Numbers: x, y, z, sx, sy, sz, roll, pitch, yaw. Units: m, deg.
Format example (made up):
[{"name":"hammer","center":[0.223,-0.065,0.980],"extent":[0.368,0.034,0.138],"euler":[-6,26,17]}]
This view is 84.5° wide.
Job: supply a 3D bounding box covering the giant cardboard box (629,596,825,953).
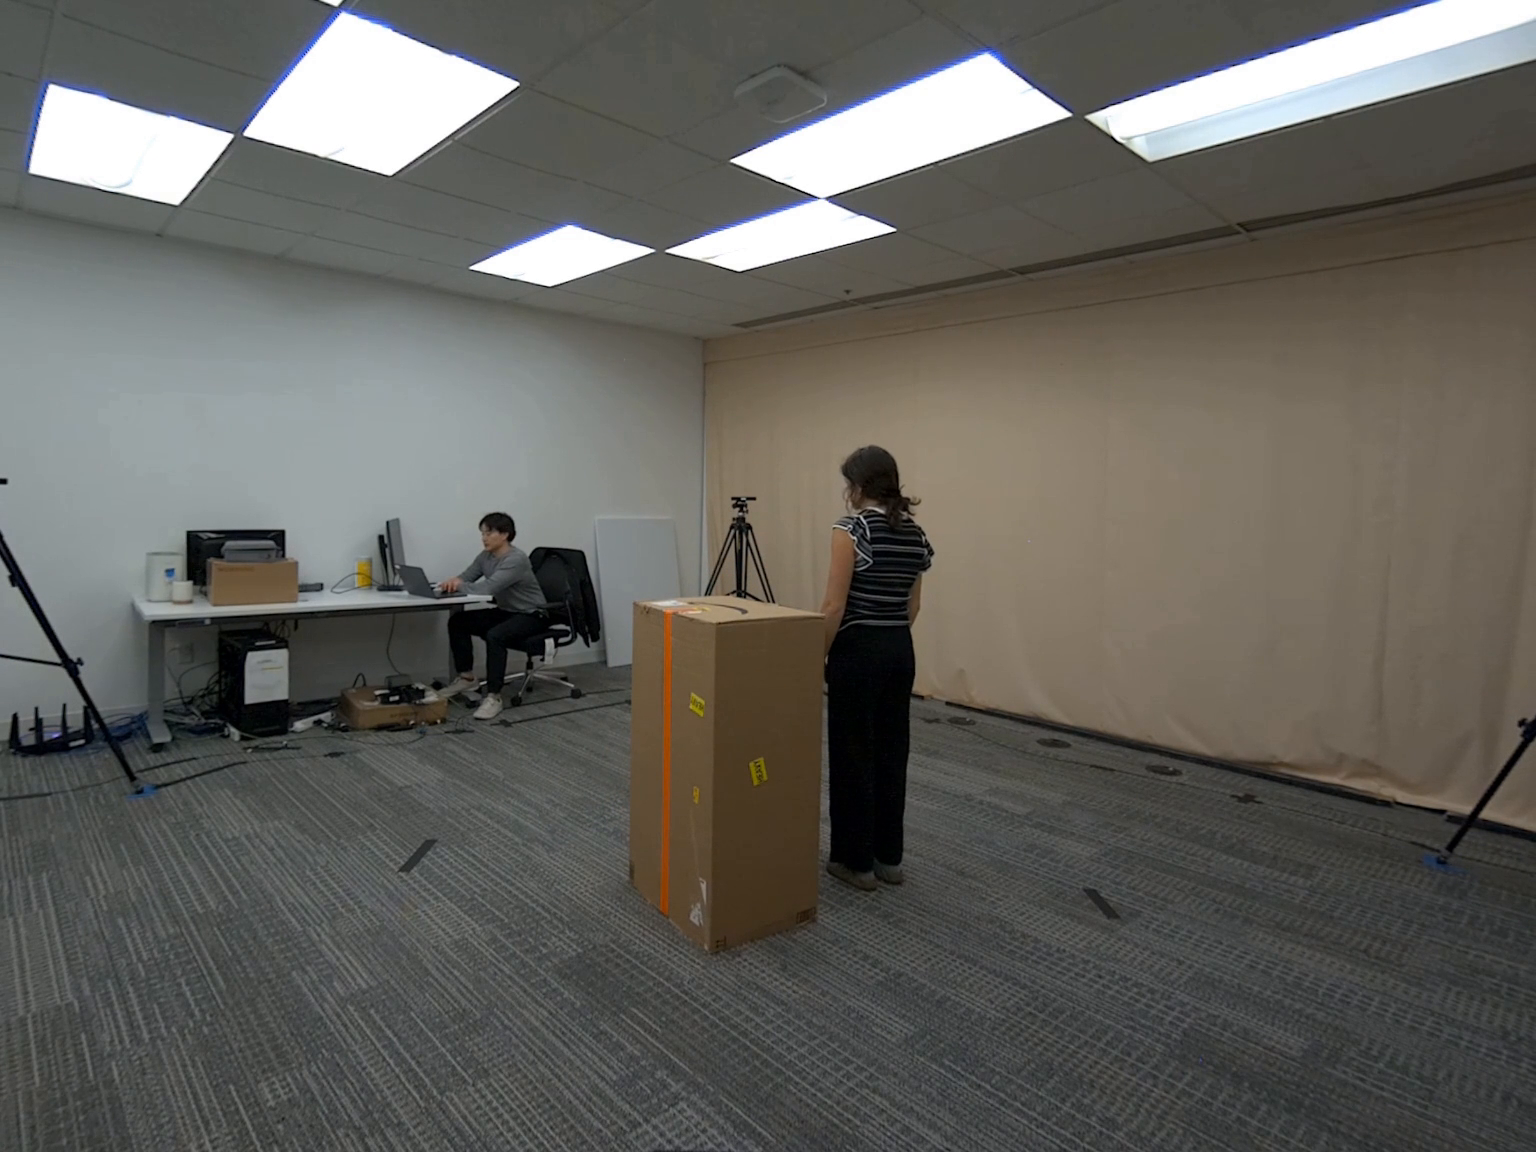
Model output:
[{"name":"giant cardboard box","center":[-0.167,0.618,2.880],"extent":[0.417,1.023,0.591],"euler":[-1,4,-35]}]
